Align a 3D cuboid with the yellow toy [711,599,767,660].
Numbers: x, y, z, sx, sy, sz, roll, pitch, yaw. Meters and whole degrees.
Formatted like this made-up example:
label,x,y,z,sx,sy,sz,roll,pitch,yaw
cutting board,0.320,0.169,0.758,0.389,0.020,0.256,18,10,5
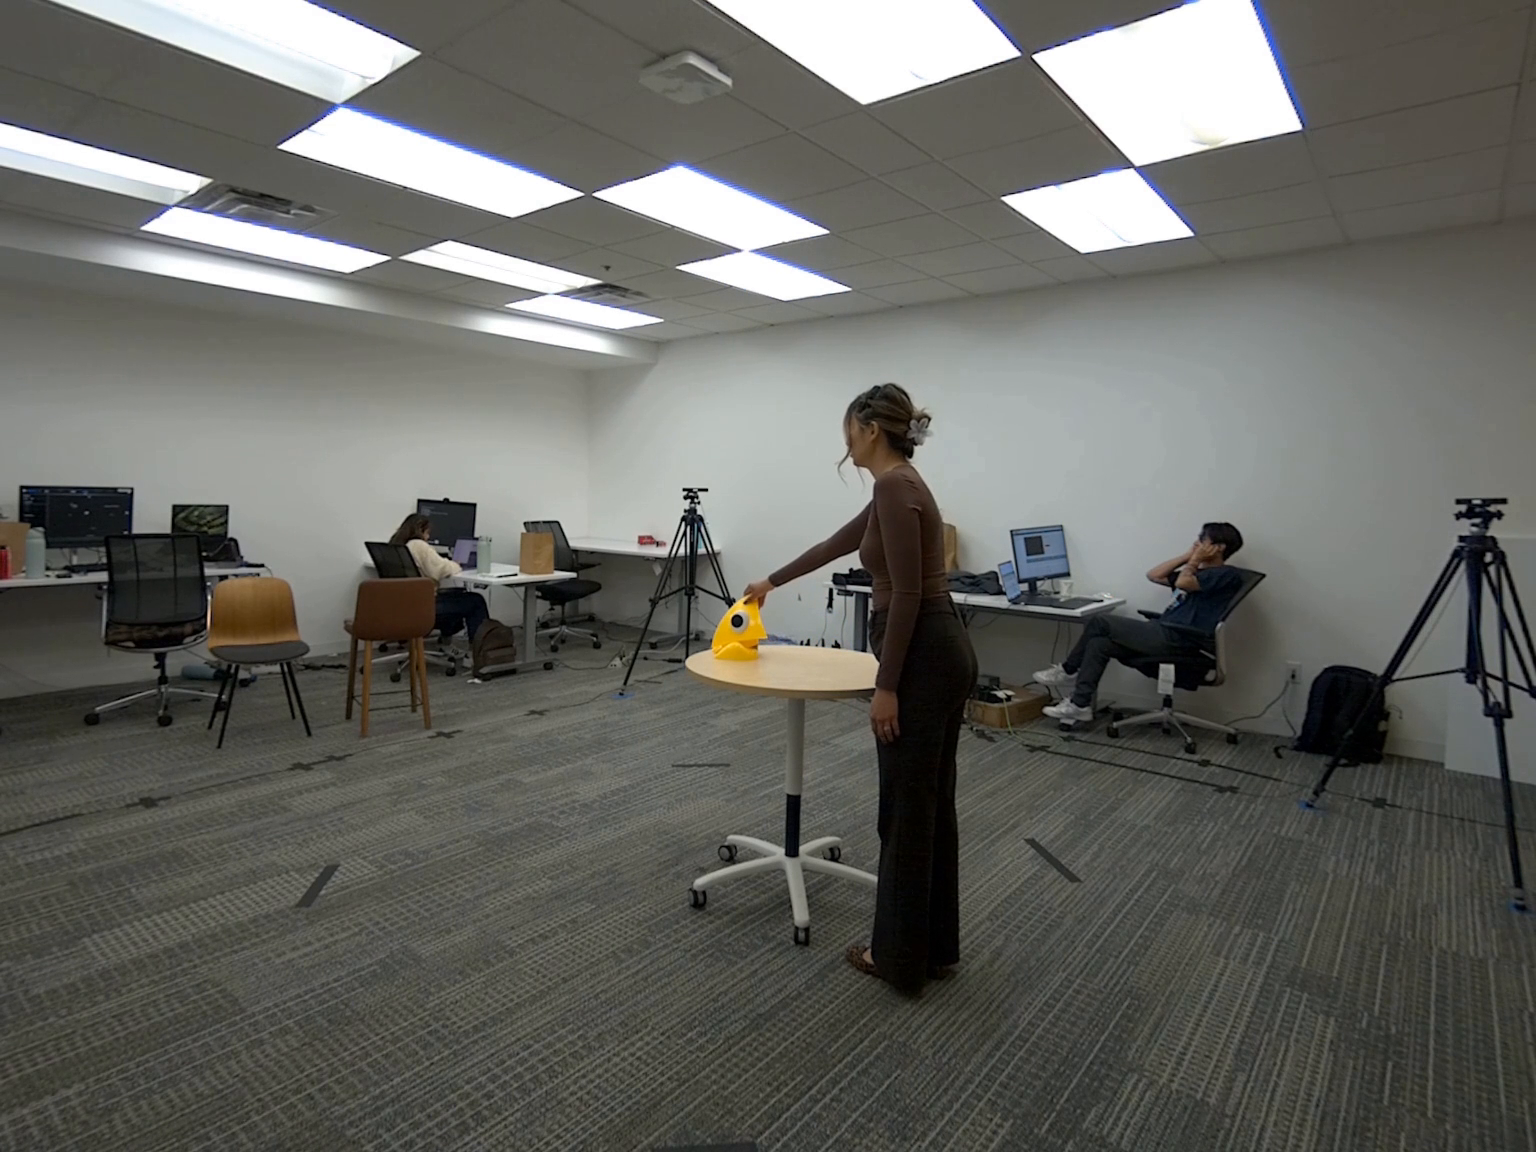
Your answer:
label,x,y,z,sx,sy,sz,roll,pitch,yaw
yellow toy,-0.113,0.163,3.041,0.192,0.230,0.206,2,3,-6
